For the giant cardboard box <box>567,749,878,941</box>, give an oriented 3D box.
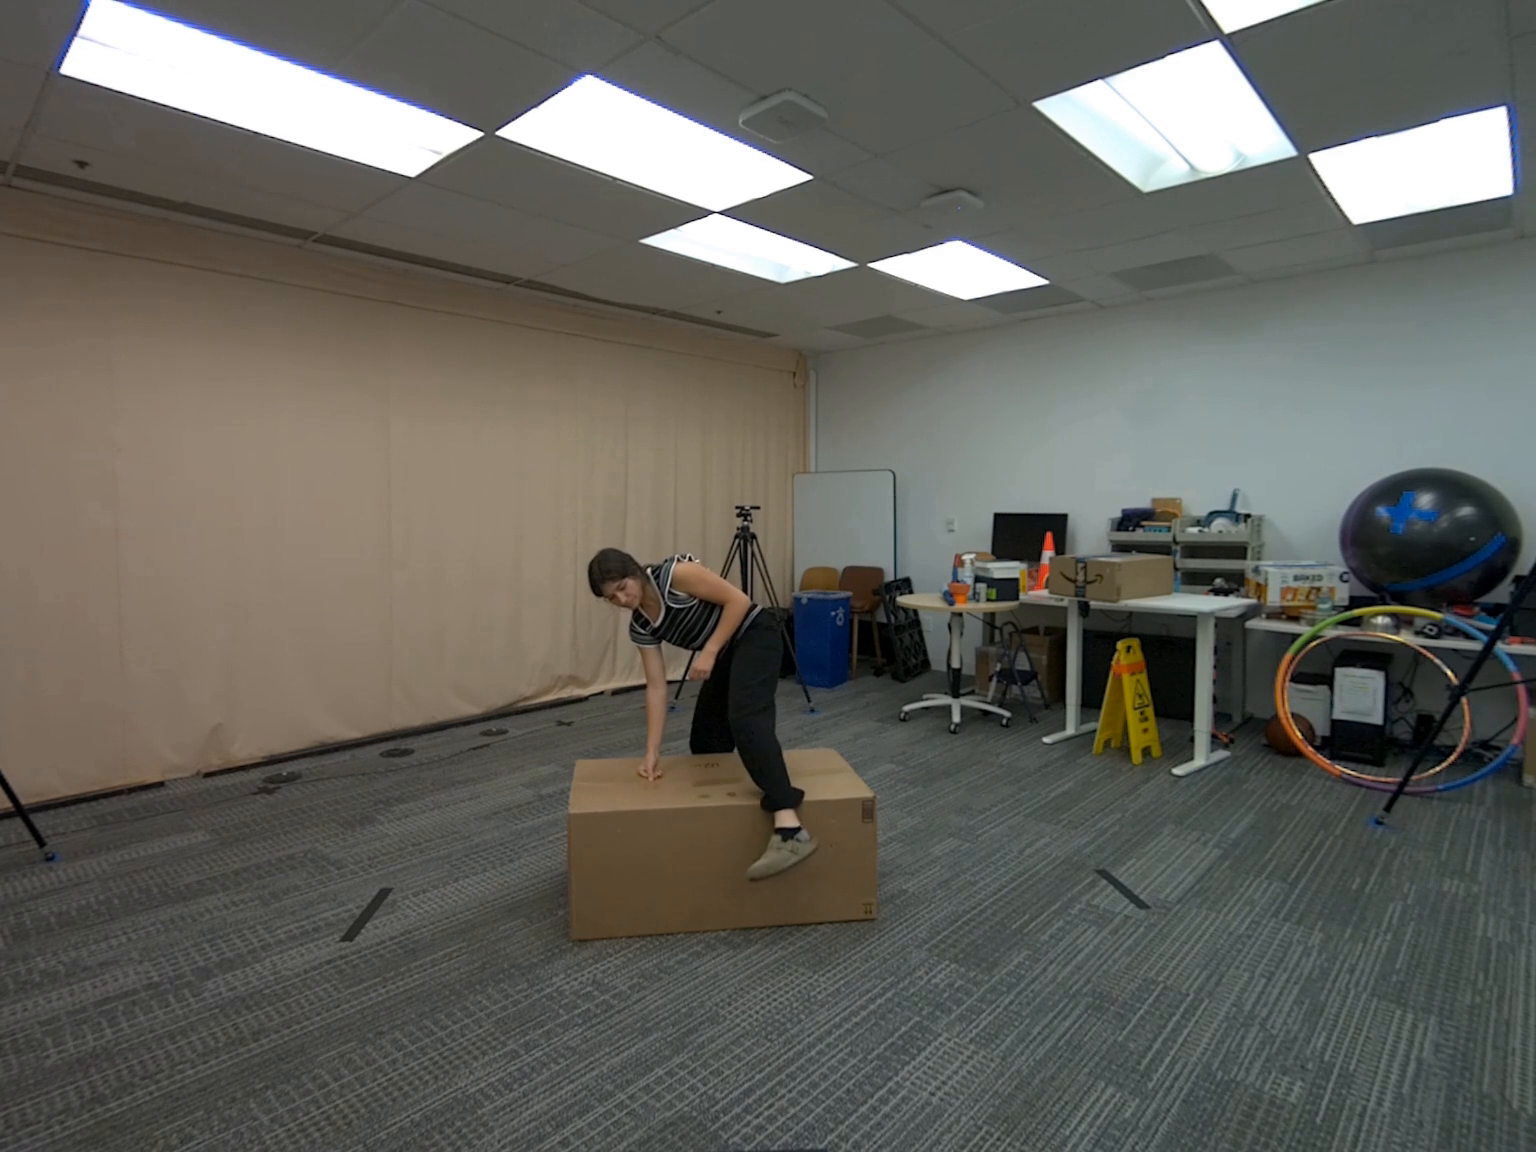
[{"bbox_3d":[-0.188,0.934,3.028,1.018,0.425,0.584,-2,4,-8],"label":"giant cardboard box"}]
